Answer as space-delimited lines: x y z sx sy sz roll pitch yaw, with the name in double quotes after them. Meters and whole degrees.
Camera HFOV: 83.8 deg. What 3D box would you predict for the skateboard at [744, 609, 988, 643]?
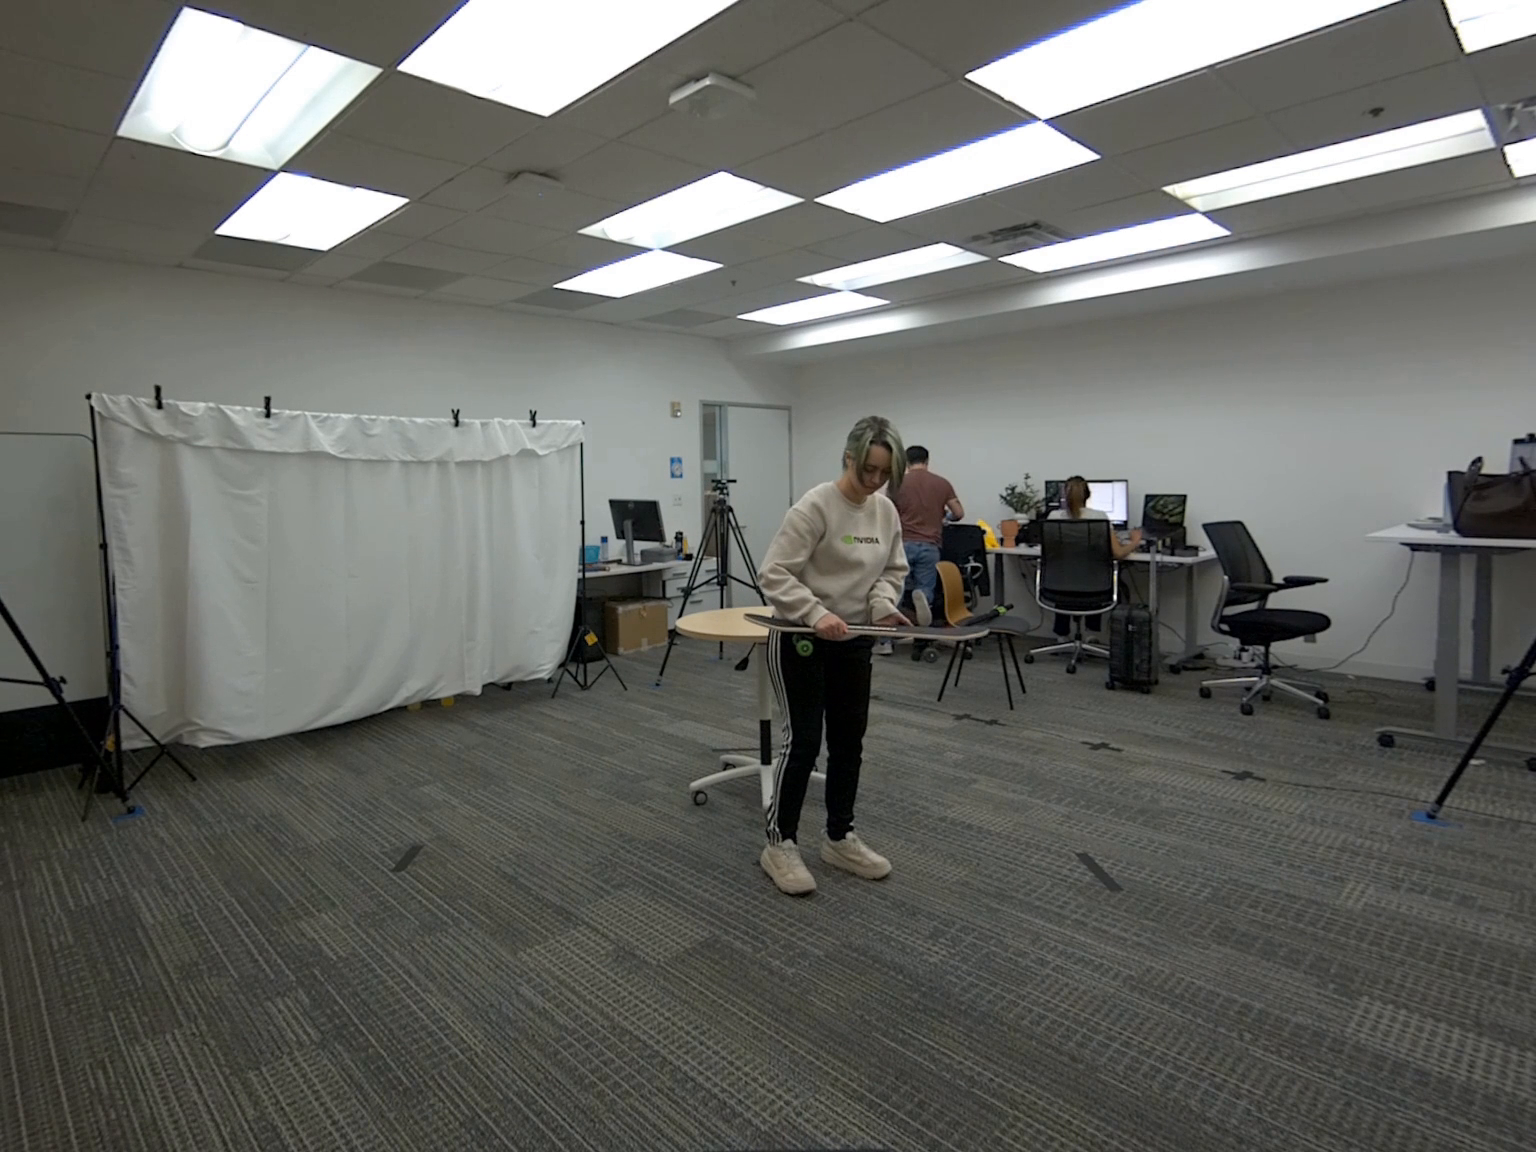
0.342 0.207 2.754 0.786 0.110 0.194 2 4 1 "skateboard"
